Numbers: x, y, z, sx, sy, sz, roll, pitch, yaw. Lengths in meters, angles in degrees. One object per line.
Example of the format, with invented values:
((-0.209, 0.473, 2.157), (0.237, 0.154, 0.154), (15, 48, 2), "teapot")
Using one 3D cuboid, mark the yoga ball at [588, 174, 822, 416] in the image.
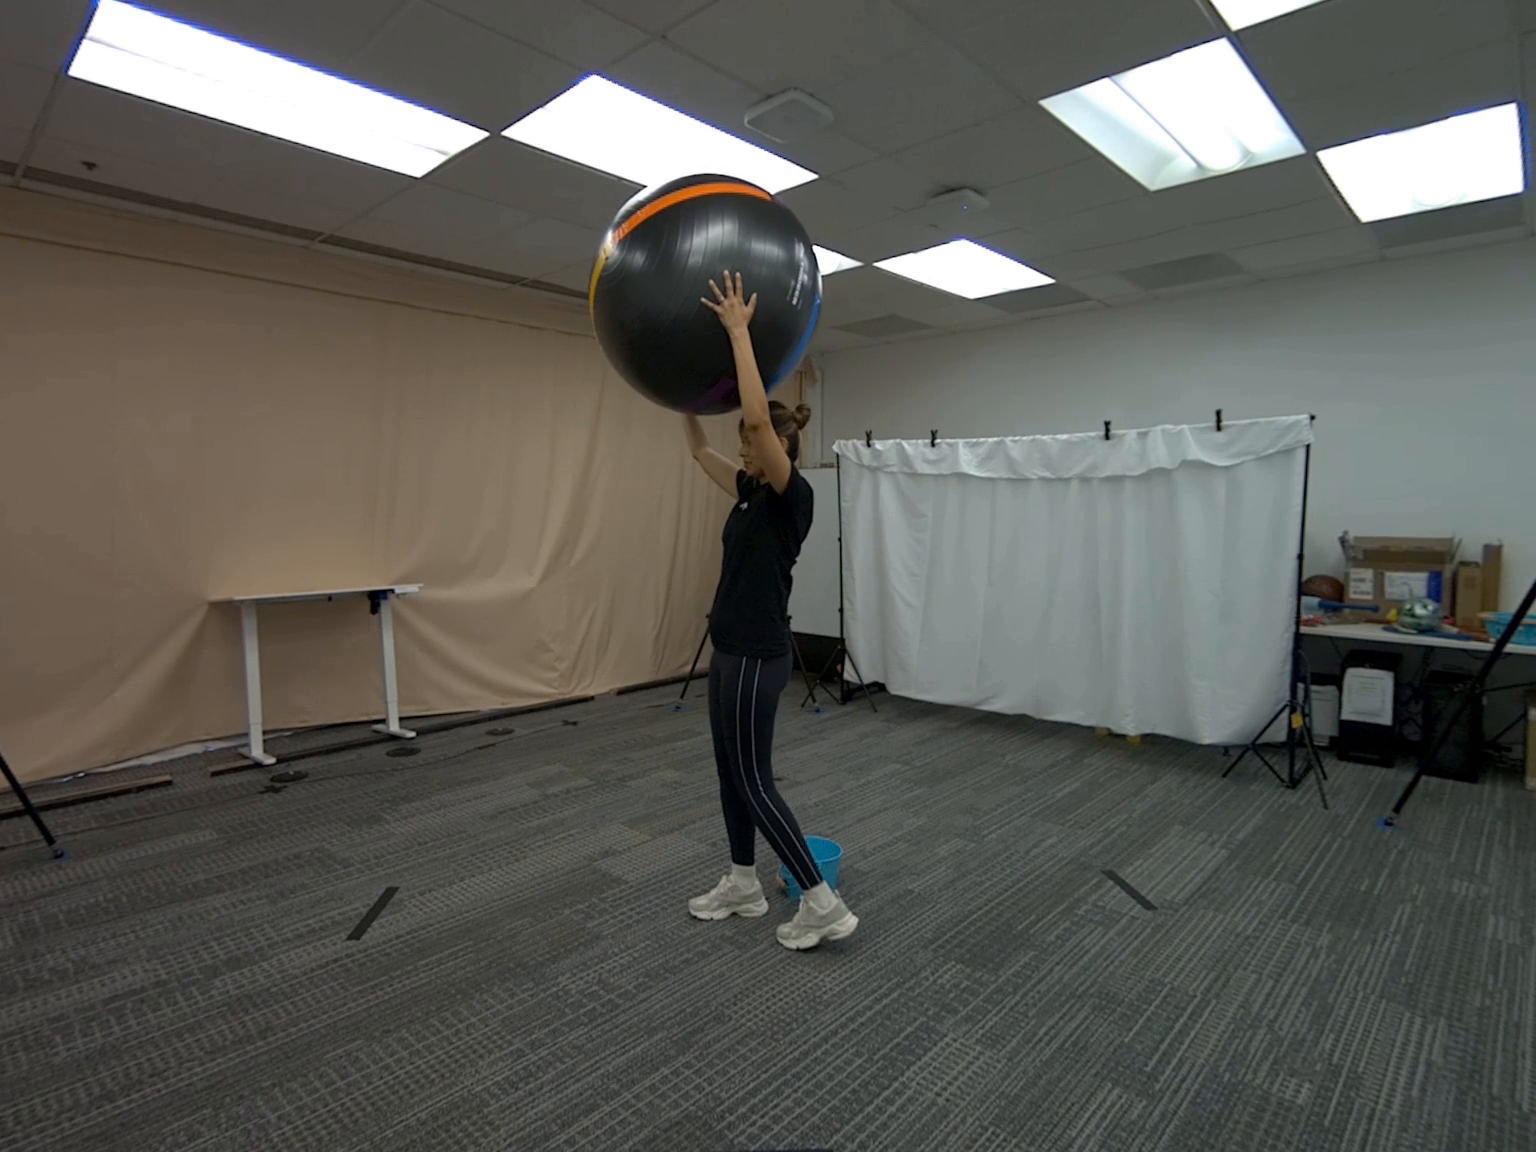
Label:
((-0.204, -0.901, 2.748), (0.757, 0.756, 0.760), (0, 4, -2), "yoga ball")
